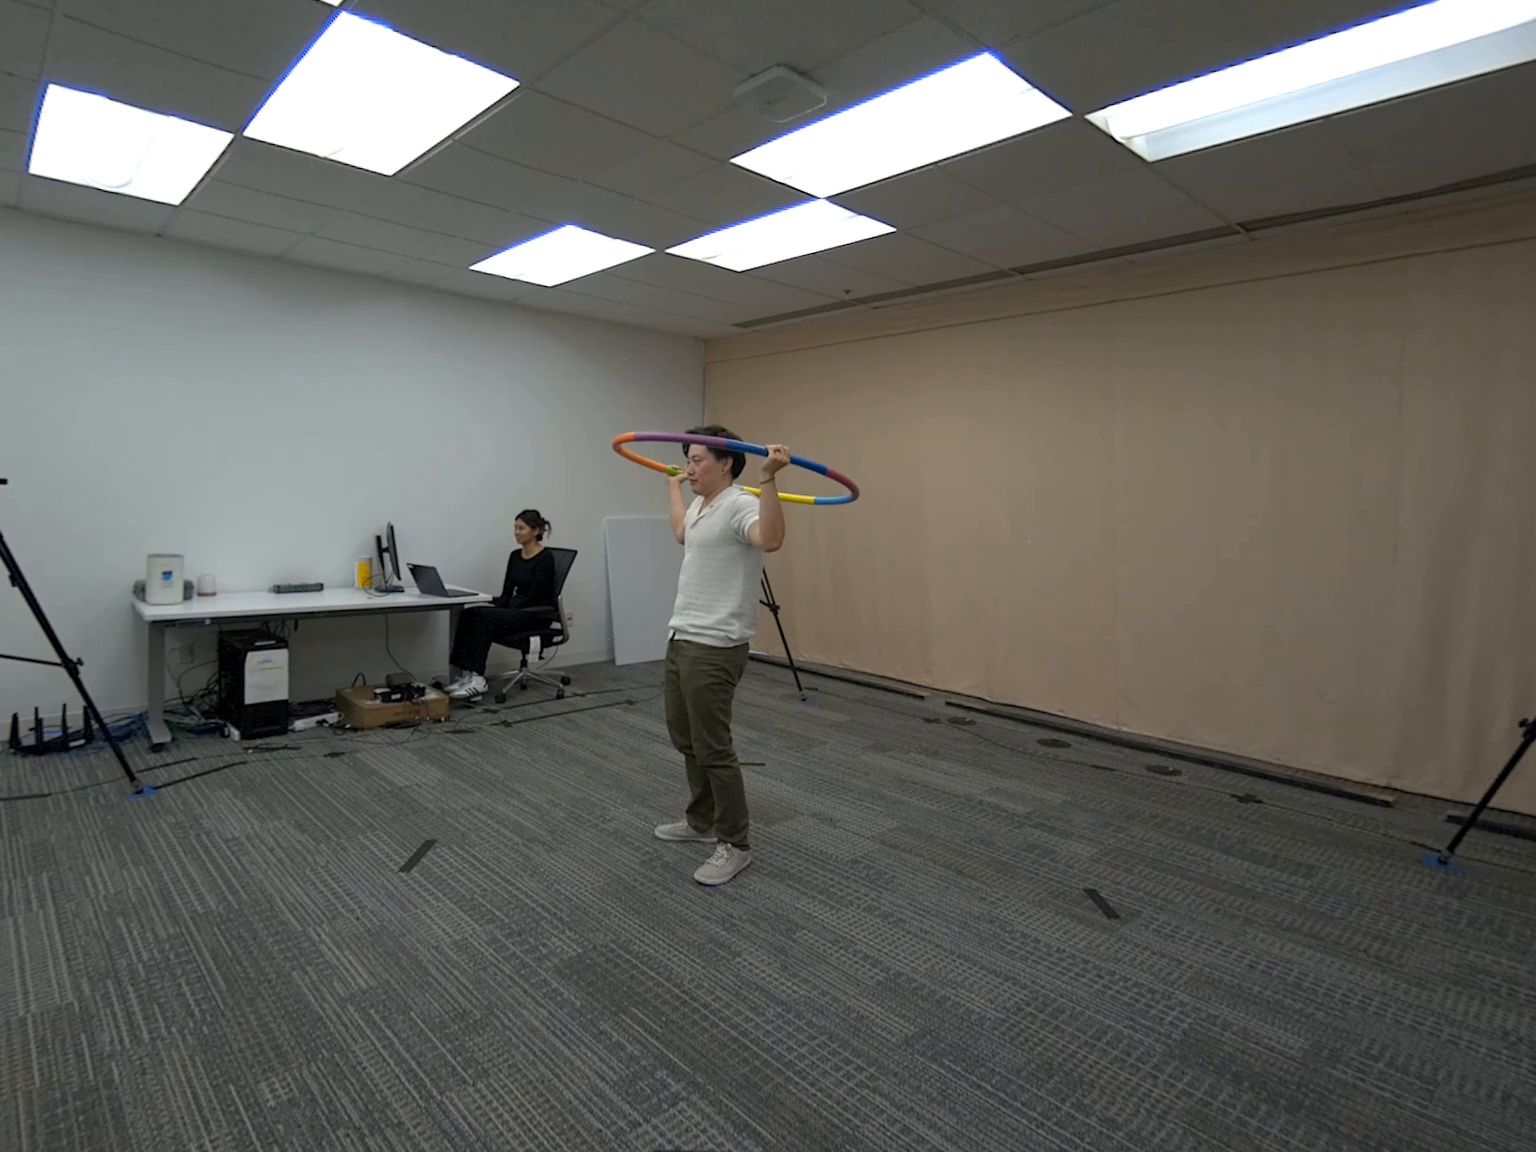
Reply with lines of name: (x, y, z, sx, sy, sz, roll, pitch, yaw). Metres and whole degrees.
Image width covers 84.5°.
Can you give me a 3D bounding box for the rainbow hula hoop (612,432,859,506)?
rainbow hula hoop: (-0.130, -0.410, 3.305, 0.979, 0.035, 0.976, 12, -3, -1)
